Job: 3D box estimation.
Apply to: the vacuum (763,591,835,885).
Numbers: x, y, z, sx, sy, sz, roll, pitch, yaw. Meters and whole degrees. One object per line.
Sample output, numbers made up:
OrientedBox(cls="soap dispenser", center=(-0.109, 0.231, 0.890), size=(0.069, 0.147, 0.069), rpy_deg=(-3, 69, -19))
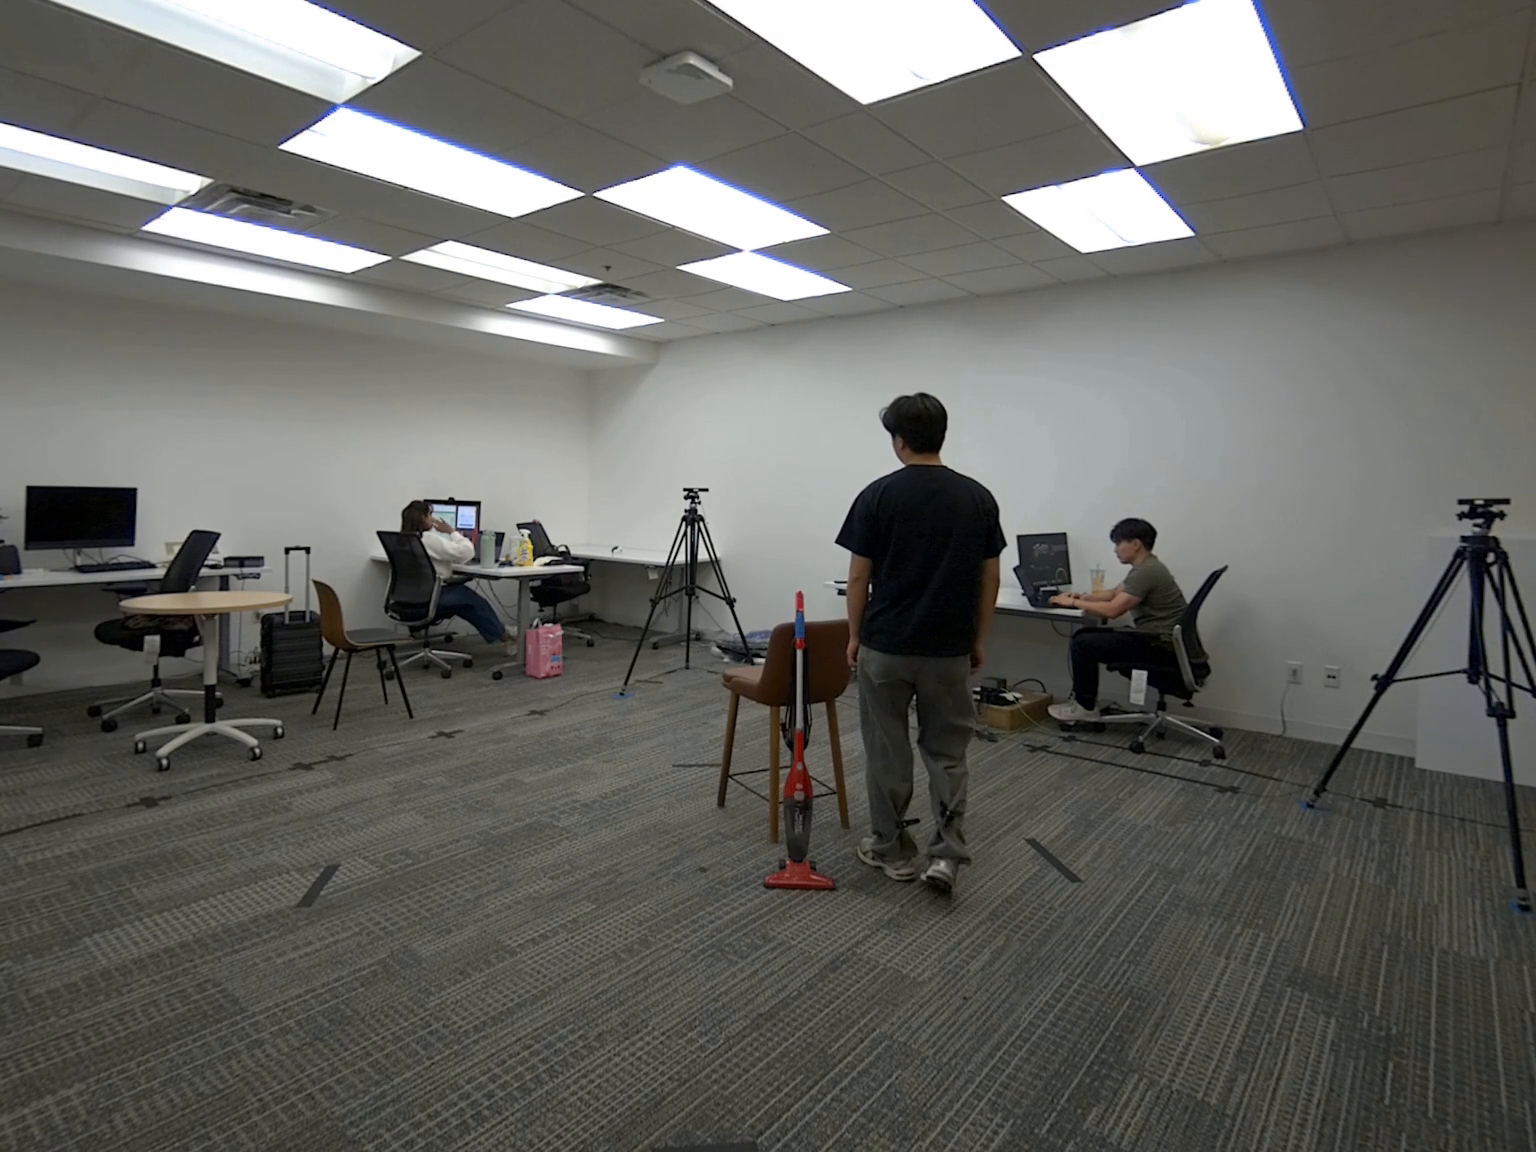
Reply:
OrientedBox(cls="vacuum", center=(0.110, 0.568, 3.204), size=(0.250, 1.066, 0.143), rpy_deg=(5, -18, -8))
